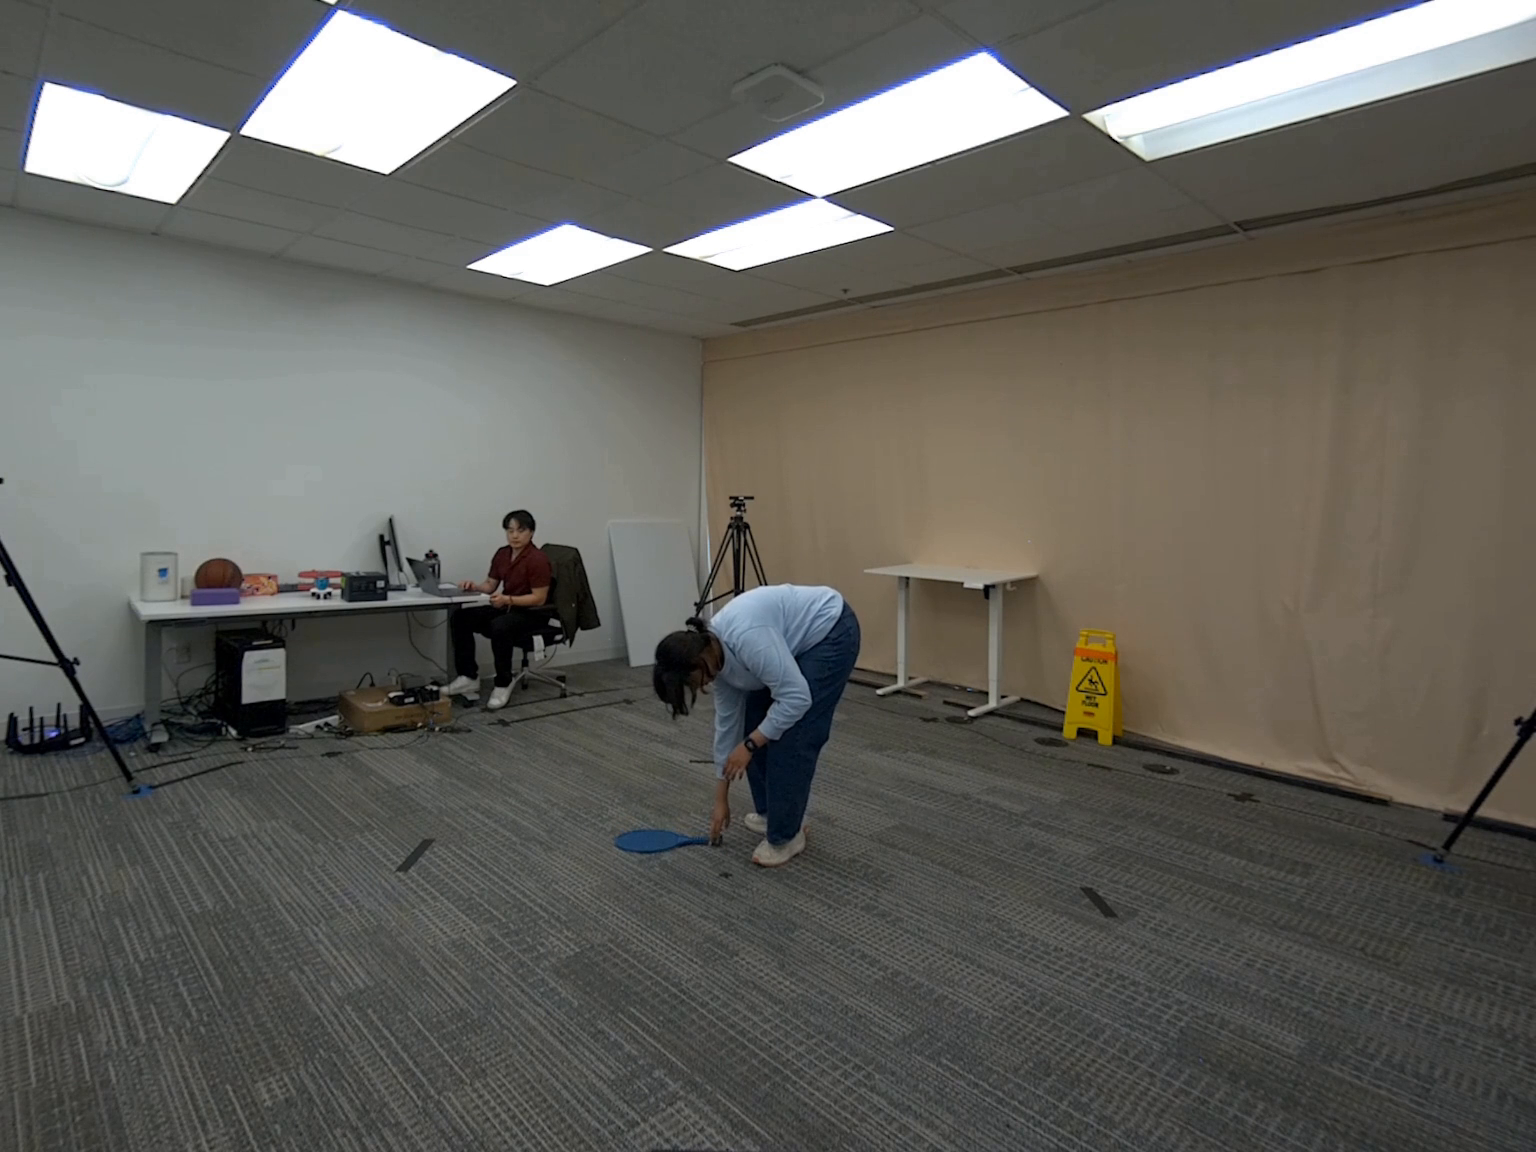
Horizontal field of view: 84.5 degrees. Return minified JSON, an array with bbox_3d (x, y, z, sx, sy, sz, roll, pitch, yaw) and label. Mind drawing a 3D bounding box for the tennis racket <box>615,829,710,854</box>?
[{"bbox_3d":[-0.408,1.053,3.378,0.433,0.031,0.214,0,6,2],"label":"tennis racket"}]
